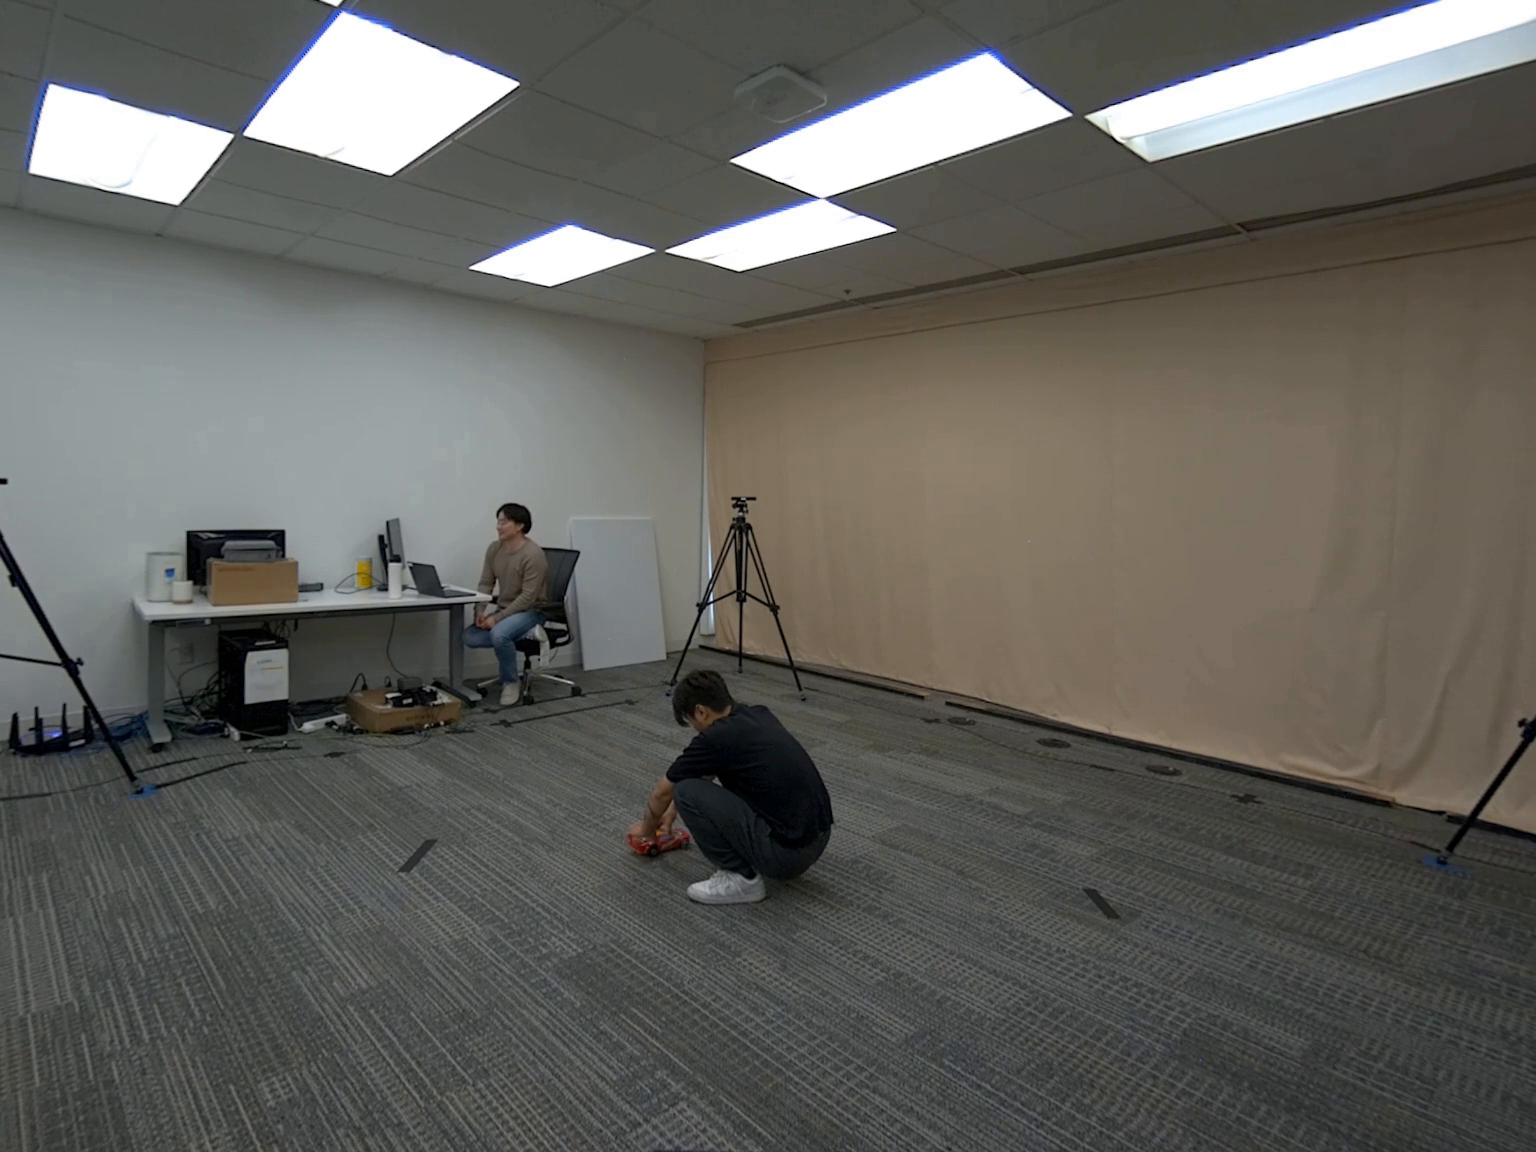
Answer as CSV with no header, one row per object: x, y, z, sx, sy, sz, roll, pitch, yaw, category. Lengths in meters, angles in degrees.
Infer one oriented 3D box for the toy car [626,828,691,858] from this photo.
-0.441,1.047,3.322,0.248,0.083,0.133,11,-2,-36,toy car
